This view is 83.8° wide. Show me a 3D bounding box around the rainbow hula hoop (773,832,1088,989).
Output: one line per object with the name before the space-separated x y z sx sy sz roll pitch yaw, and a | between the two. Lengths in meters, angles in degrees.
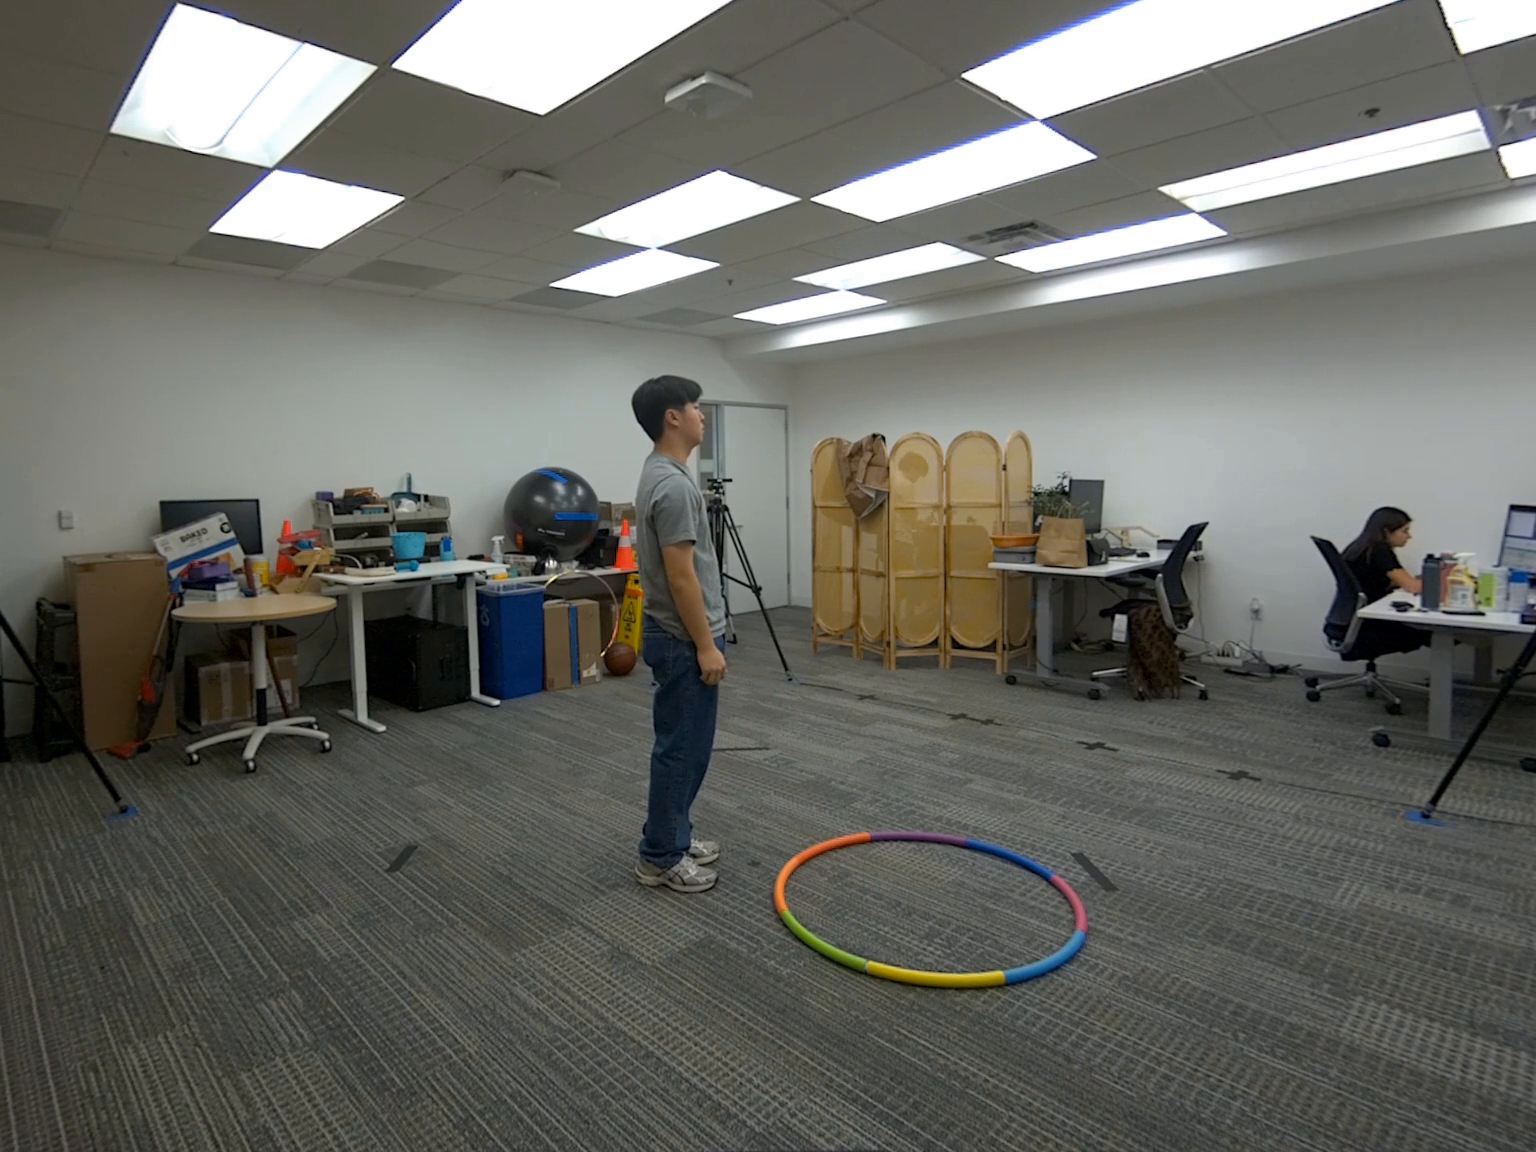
rainbow hula hoop | 0.508 1.040 2.811 0.978 0.035 0.984 -1 7 -2
